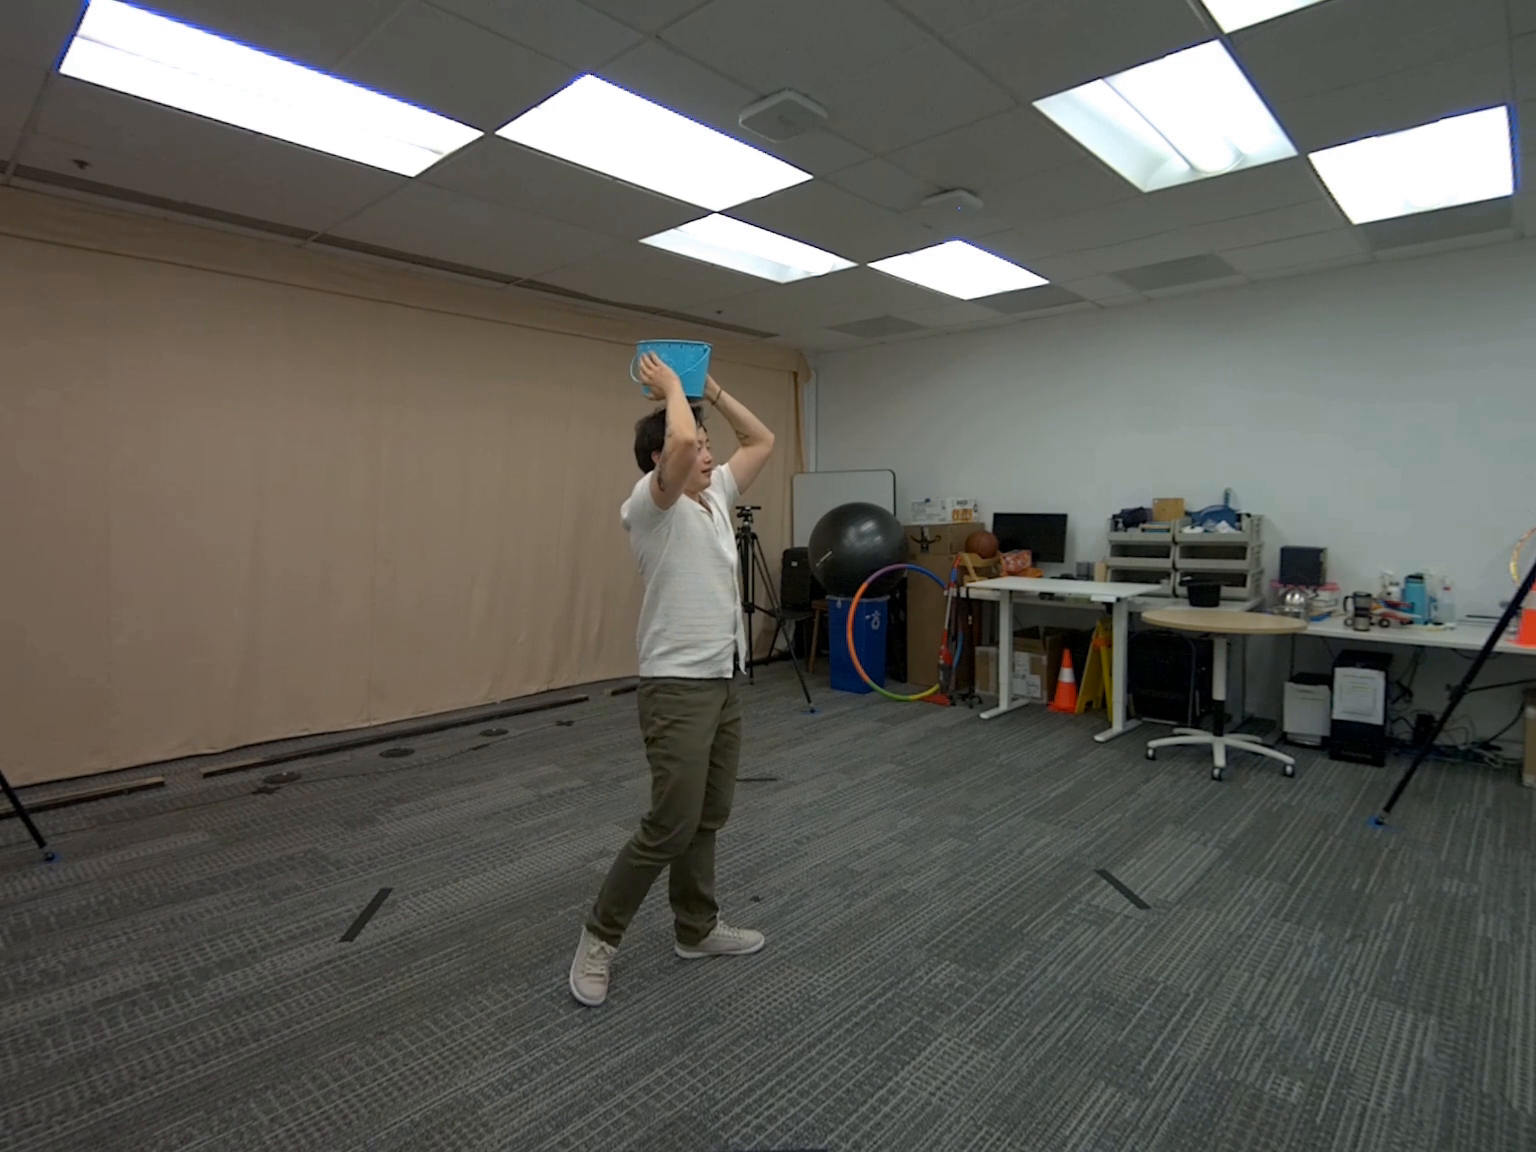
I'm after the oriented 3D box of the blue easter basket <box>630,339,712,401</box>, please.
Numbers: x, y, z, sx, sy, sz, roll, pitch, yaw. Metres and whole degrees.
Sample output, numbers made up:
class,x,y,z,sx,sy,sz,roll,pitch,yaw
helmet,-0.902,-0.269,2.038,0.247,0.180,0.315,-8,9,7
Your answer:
class,x,y,z,sx,sy,sz,roll,pitch,yaw
blue easter basket,-0.291,-0.613,2.494,0.243,0.155,0.245,-3,7,-2
